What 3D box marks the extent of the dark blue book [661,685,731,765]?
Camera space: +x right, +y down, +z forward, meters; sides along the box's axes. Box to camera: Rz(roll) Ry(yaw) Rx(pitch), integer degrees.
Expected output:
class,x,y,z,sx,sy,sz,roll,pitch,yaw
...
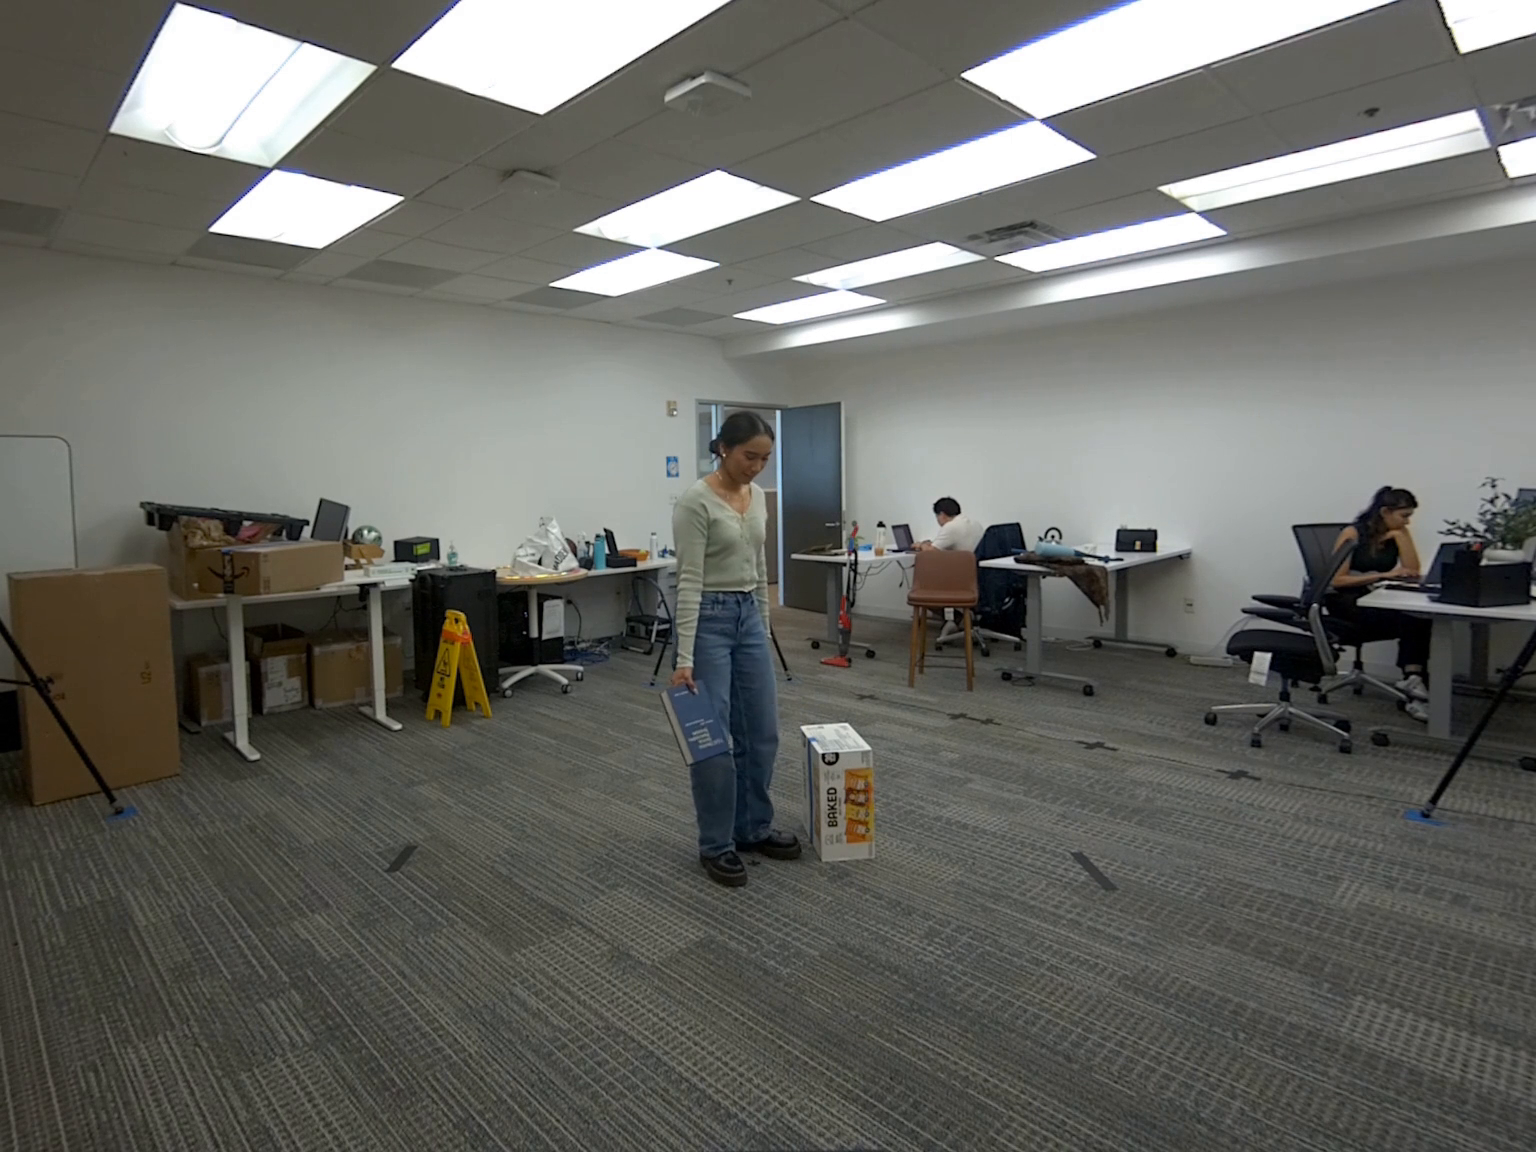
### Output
class,x,y,z,sx,sy,sz,roll,pitch,yaw
dark blue book,-0.233,0.467,2.732,0.159,0.250,0.045,-8,-22,-45
